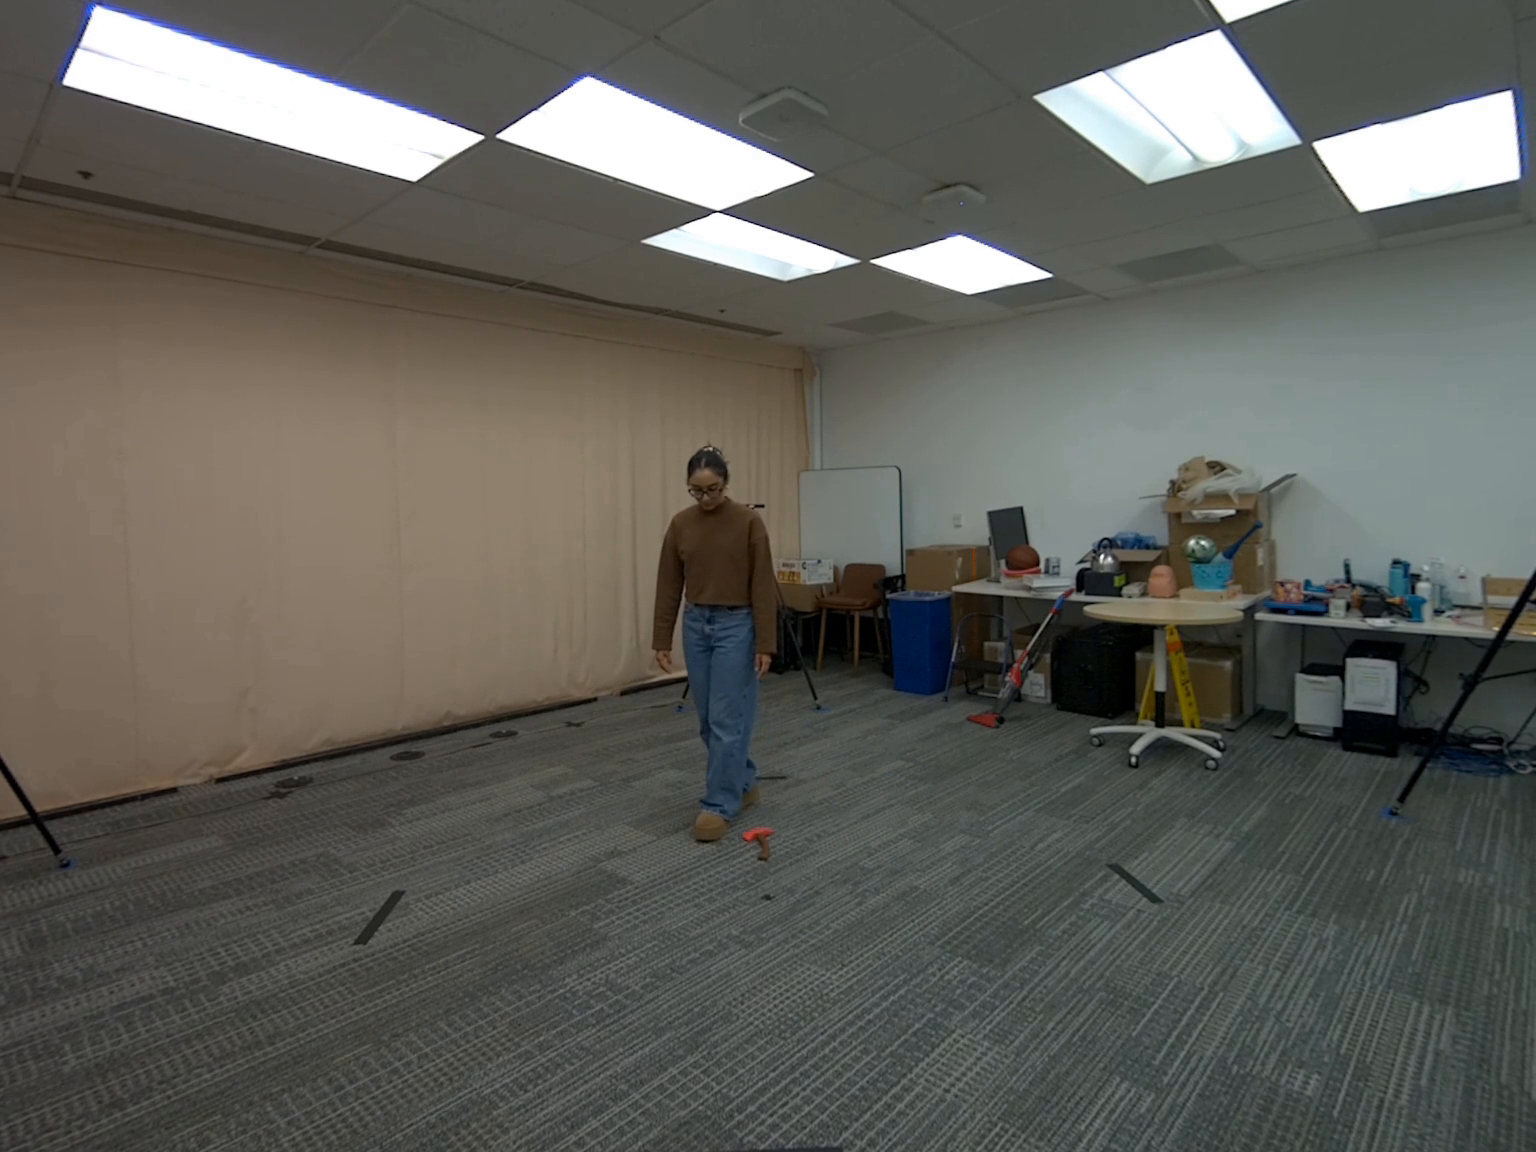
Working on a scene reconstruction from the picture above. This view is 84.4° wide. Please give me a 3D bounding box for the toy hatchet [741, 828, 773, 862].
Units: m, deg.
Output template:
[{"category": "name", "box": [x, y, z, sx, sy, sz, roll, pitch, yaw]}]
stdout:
[{"category": "toy hatchet", "box": [-0.050, 1.092, 3.425, 0.132, 0.029, 0.269, -1, 7, 6]}]
